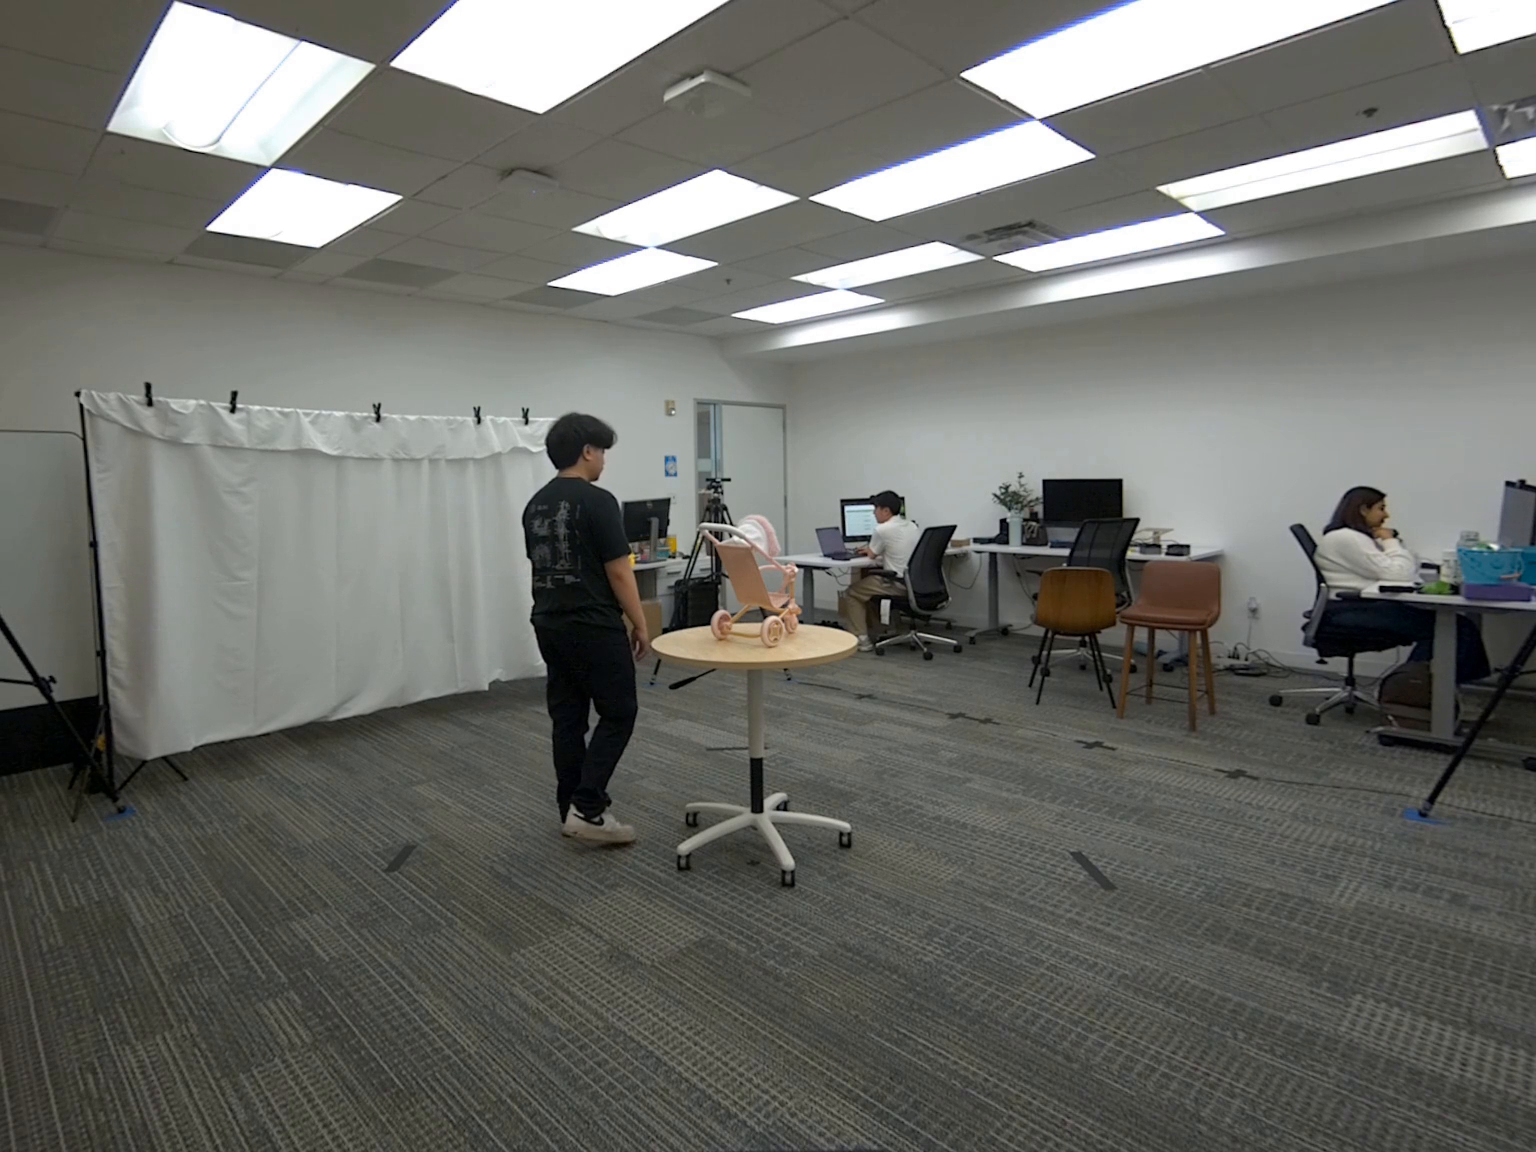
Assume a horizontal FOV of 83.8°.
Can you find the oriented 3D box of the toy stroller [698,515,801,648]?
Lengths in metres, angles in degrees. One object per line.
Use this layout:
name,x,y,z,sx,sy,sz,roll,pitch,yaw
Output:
toy stroller,-0.032,0.016,3.164,0.336,0.527,0.290,-23,18,-40
